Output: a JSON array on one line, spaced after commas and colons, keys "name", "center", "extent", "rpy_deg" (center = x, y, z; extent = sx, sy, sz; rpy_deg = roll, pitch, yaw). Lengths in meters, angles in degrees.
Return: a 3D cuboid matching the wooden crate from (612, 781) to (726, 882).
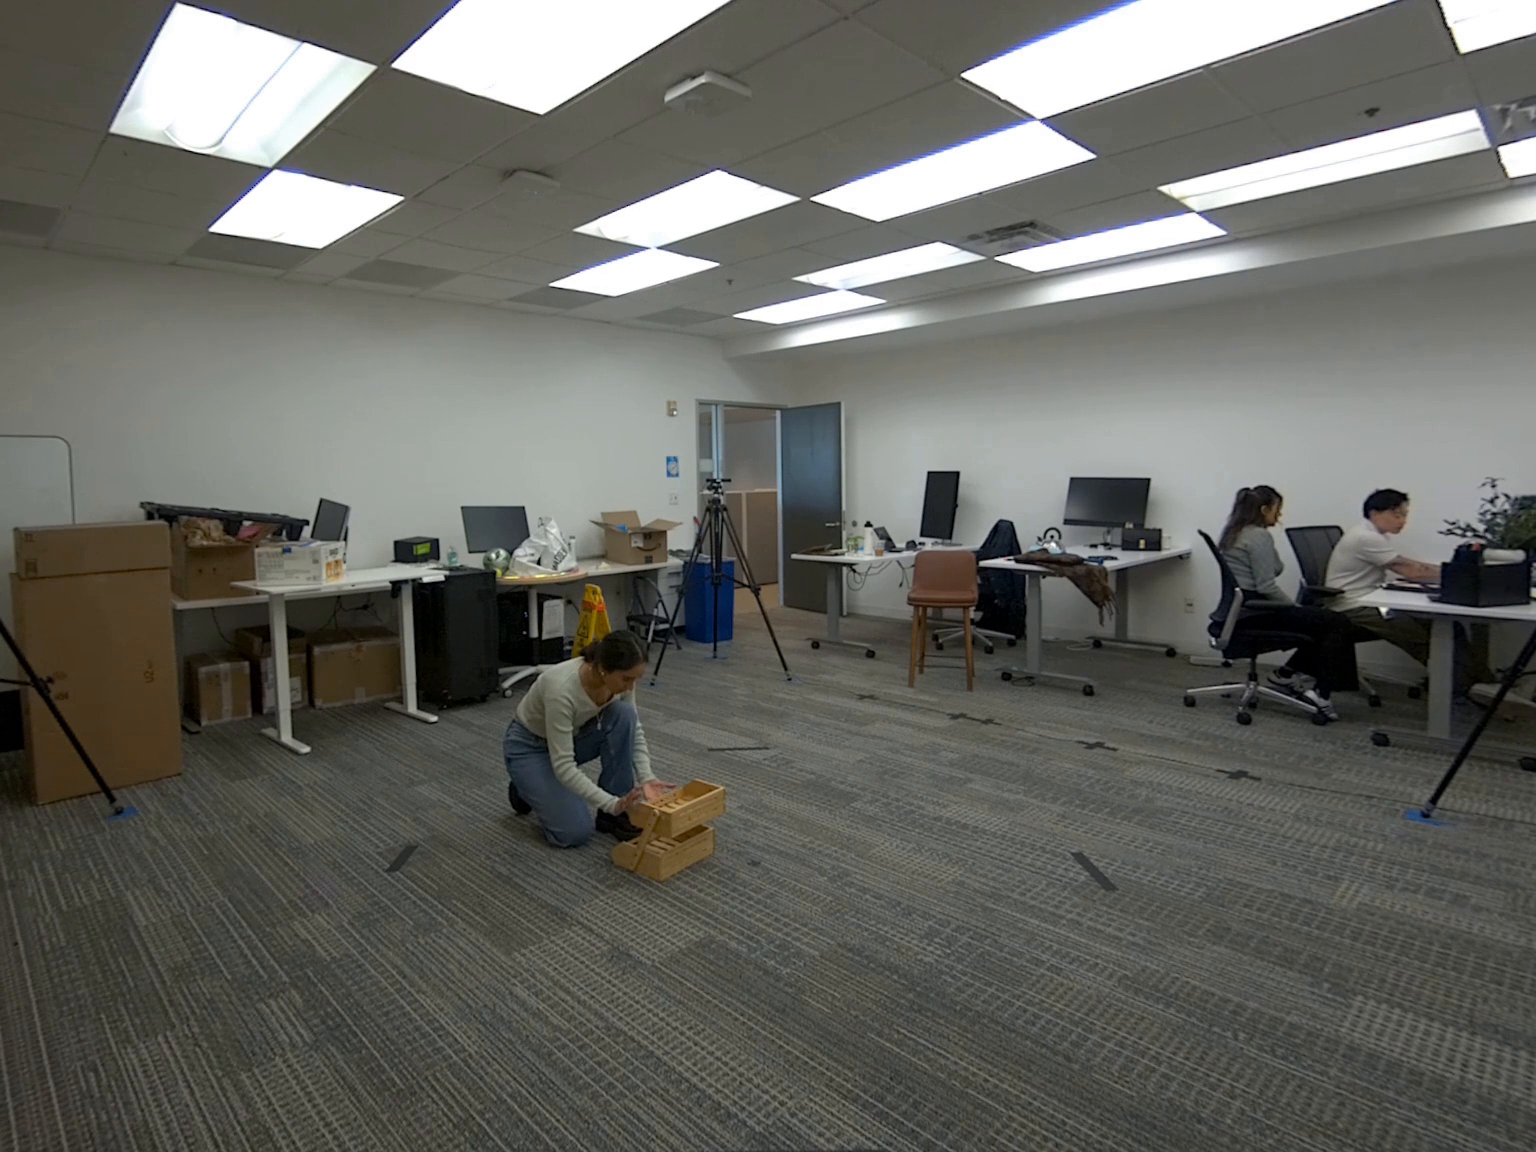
[{"name": "wooden crate", "center": [-0.367, 0.909, 3.141], "extent": [0.311, 0.272, 0.316], "rpy_deg": [4, 7, 37]}]
